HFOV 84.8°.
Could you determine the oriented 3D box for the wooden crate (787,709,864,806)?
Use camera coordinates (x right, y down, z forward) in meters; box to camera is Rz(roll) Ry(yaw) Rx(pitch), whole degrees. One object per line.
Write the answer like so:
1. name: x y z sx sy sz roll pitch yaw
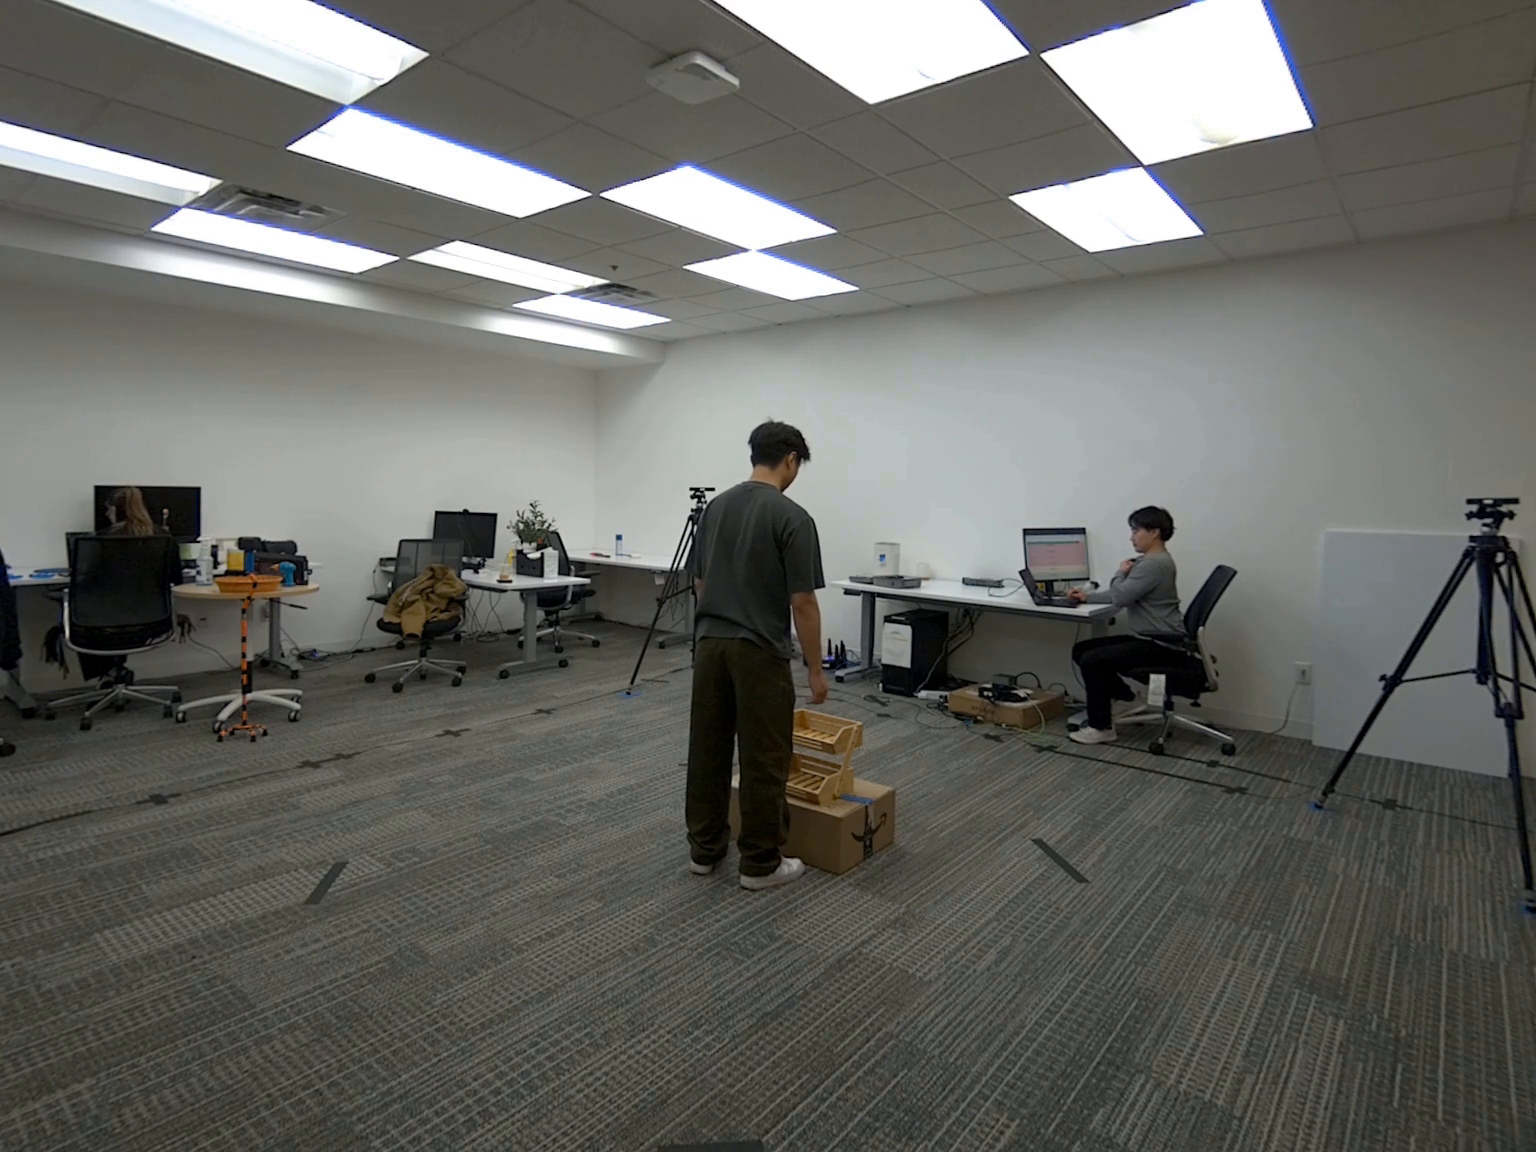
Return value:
1. wooden crate: 0.157 0.701 3.380 0.335 0.272 0.293 5 5 39
